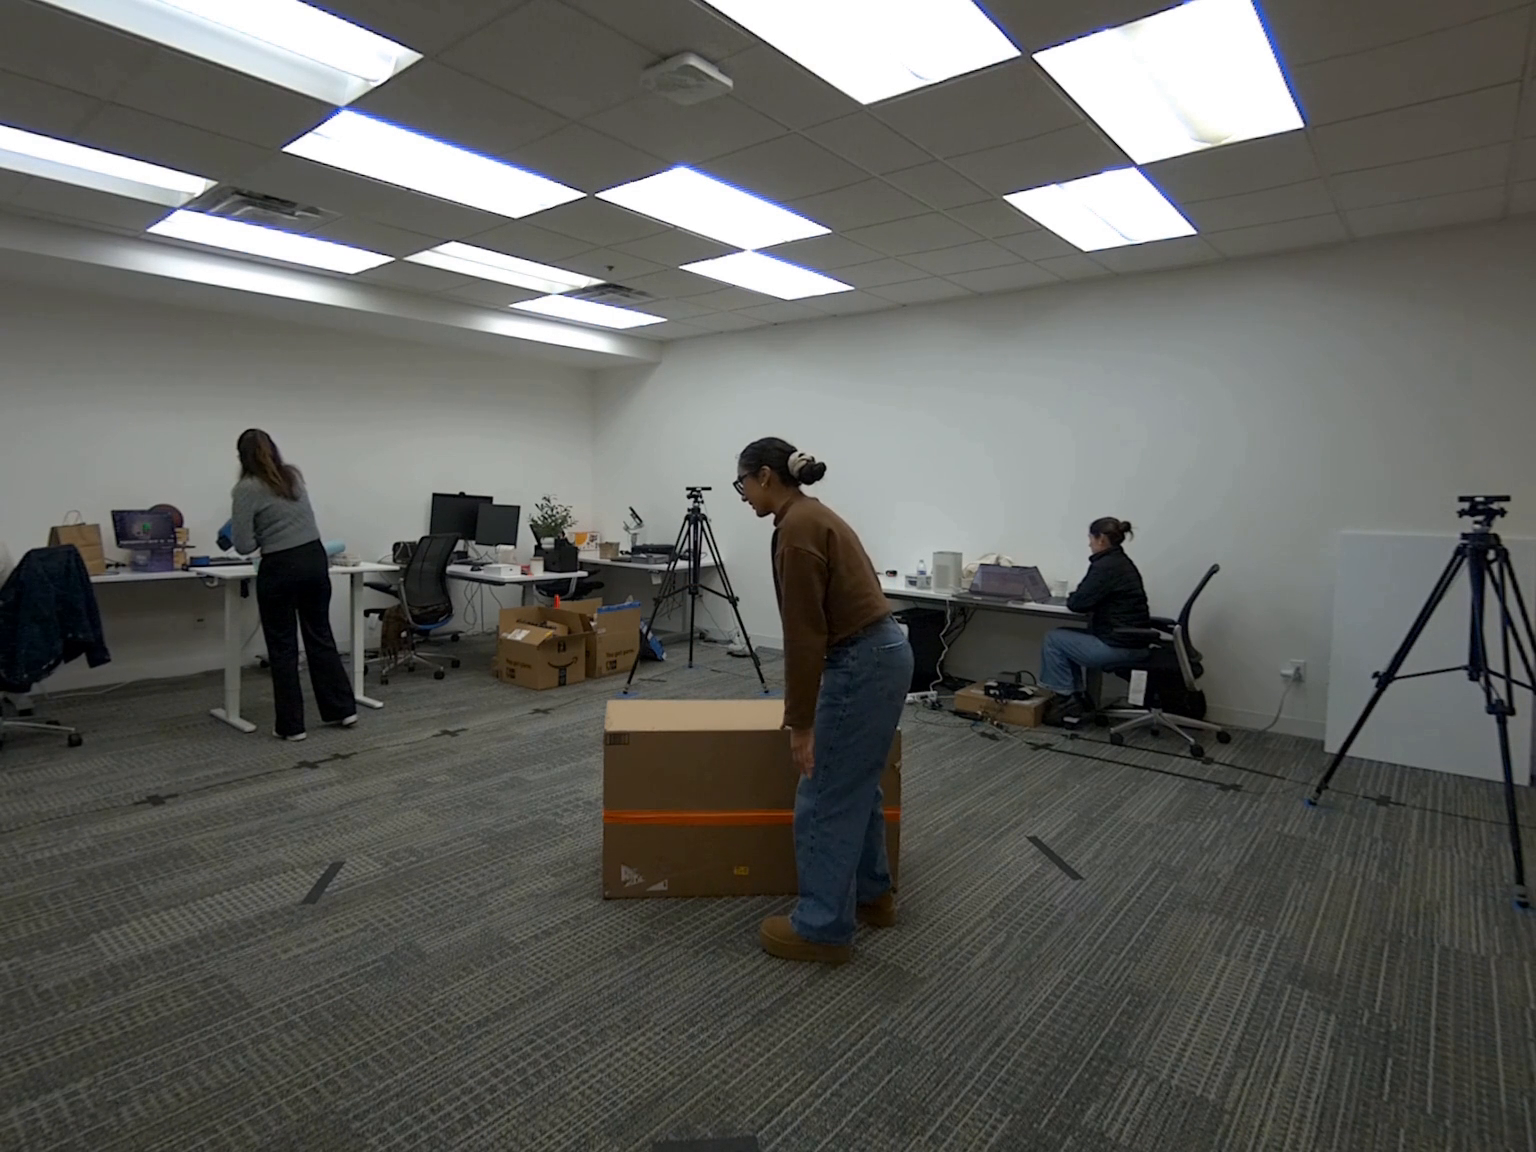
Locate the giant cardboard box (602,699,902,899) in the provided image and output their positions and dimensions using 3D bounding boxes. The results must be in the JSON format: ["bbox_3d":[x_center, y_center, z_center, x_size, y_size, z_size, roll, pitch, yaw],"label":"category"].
[{"bbox_3d":[-0.087,0.783,3.093,1.021,0.583,0.450,0,3,-5],"label":"giant cardboard box"}]
